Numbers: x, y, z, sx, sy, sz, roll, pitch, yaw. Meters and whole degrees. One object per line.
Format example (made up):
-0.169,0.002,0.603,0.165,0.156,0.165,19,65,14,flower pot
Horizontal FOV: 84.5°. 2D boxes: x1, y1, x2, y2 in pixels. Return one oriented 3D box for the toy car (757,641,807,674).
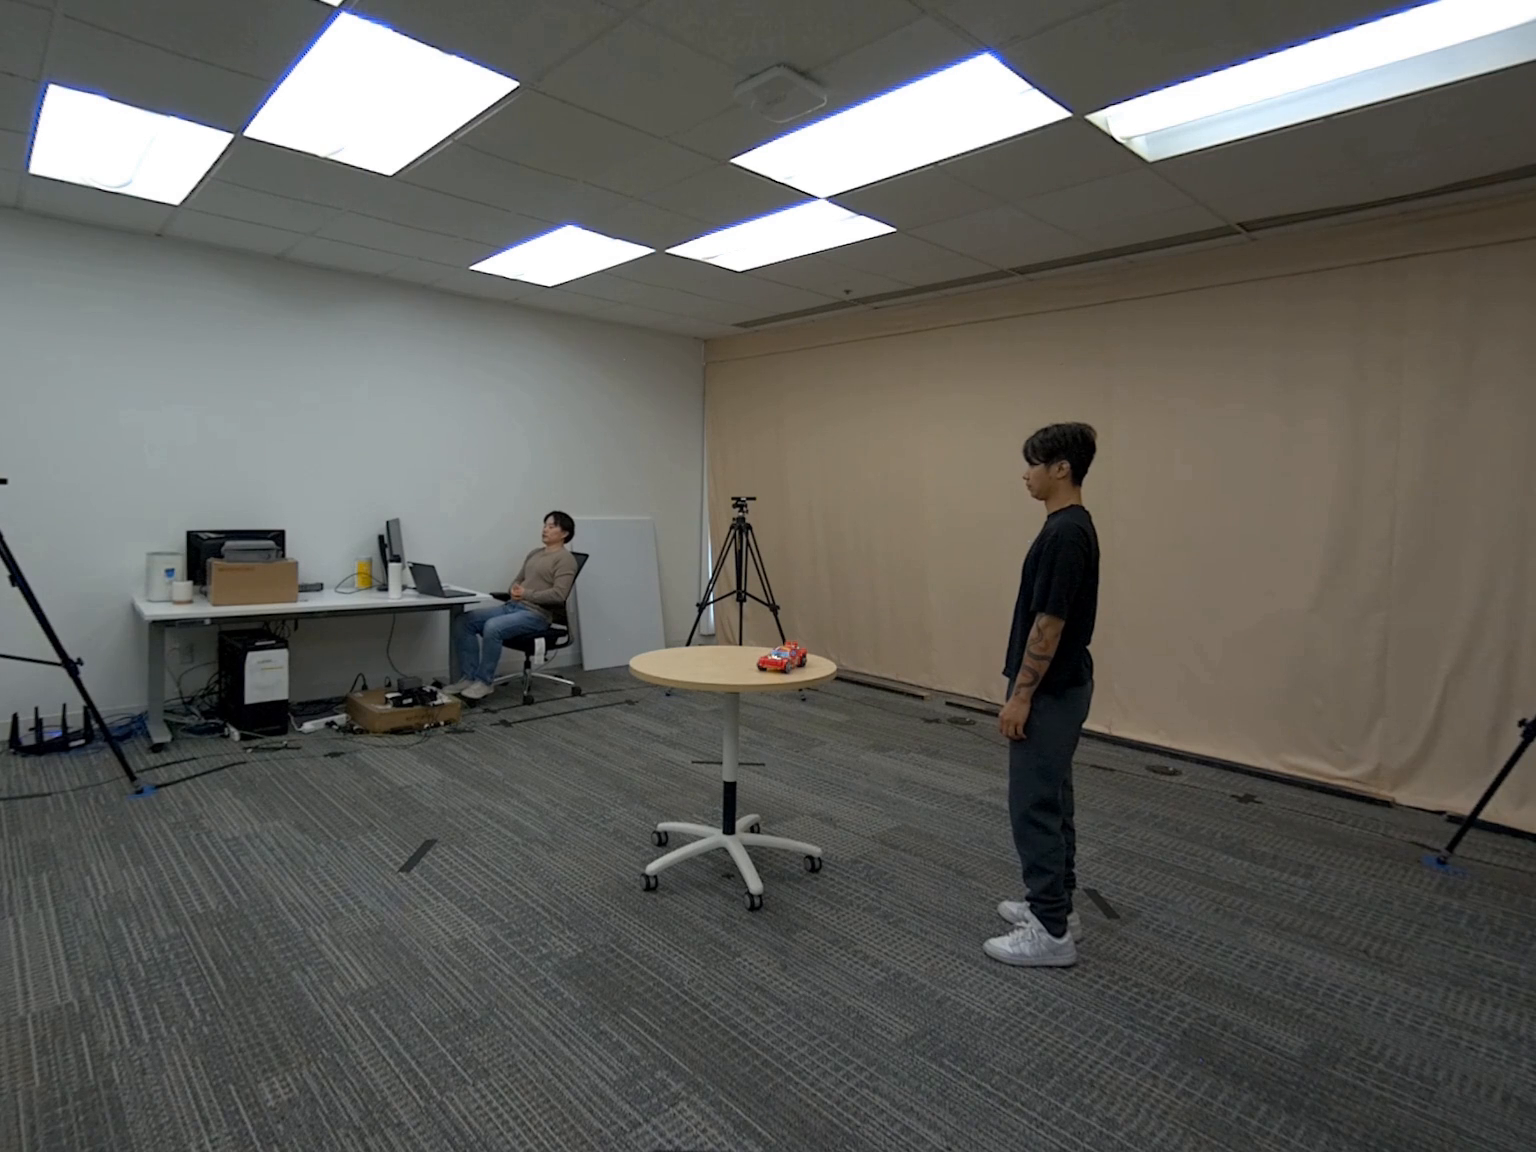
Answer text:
0.055,0.301,3.039,0.133,0.082,0.252,3,16,25,toy car
